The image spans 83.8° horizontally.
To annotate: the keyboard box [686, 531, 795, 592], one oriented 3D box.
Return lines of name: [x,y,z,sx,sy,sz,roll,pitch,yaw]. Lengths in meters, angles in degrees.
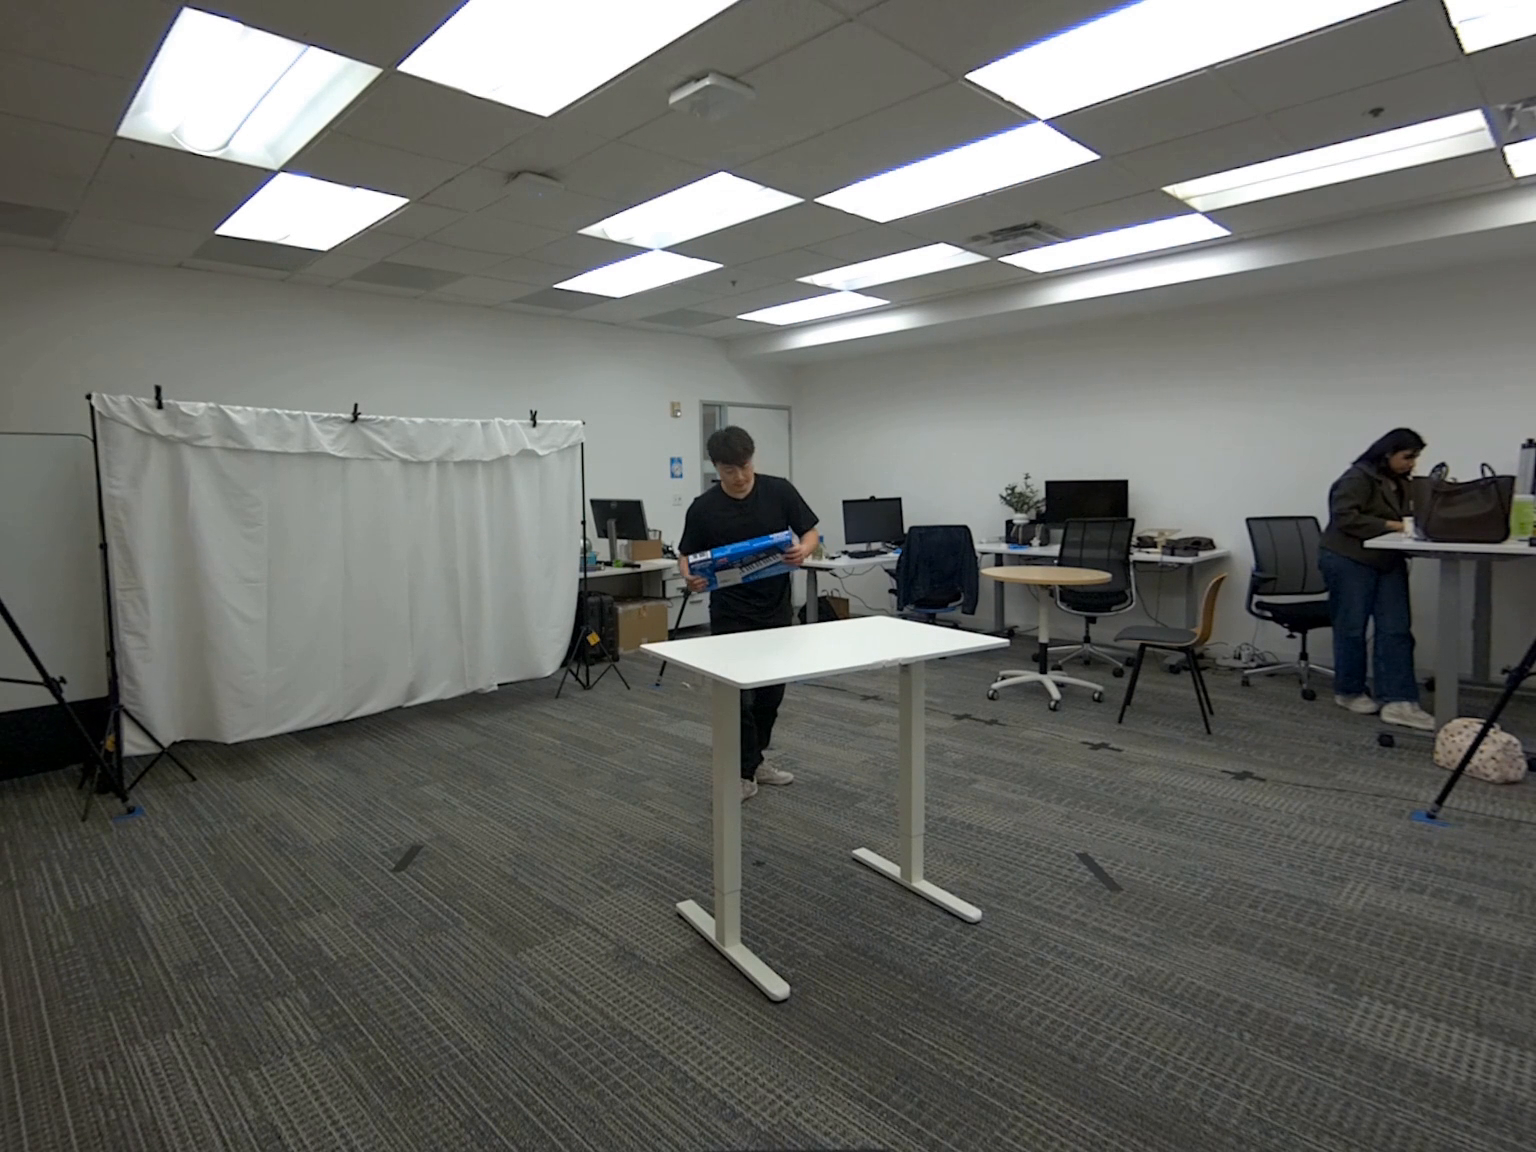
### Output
keyboard box: [-0.105,-0.054,3.530,0.438,0.170,0.061,-15,40,4]
